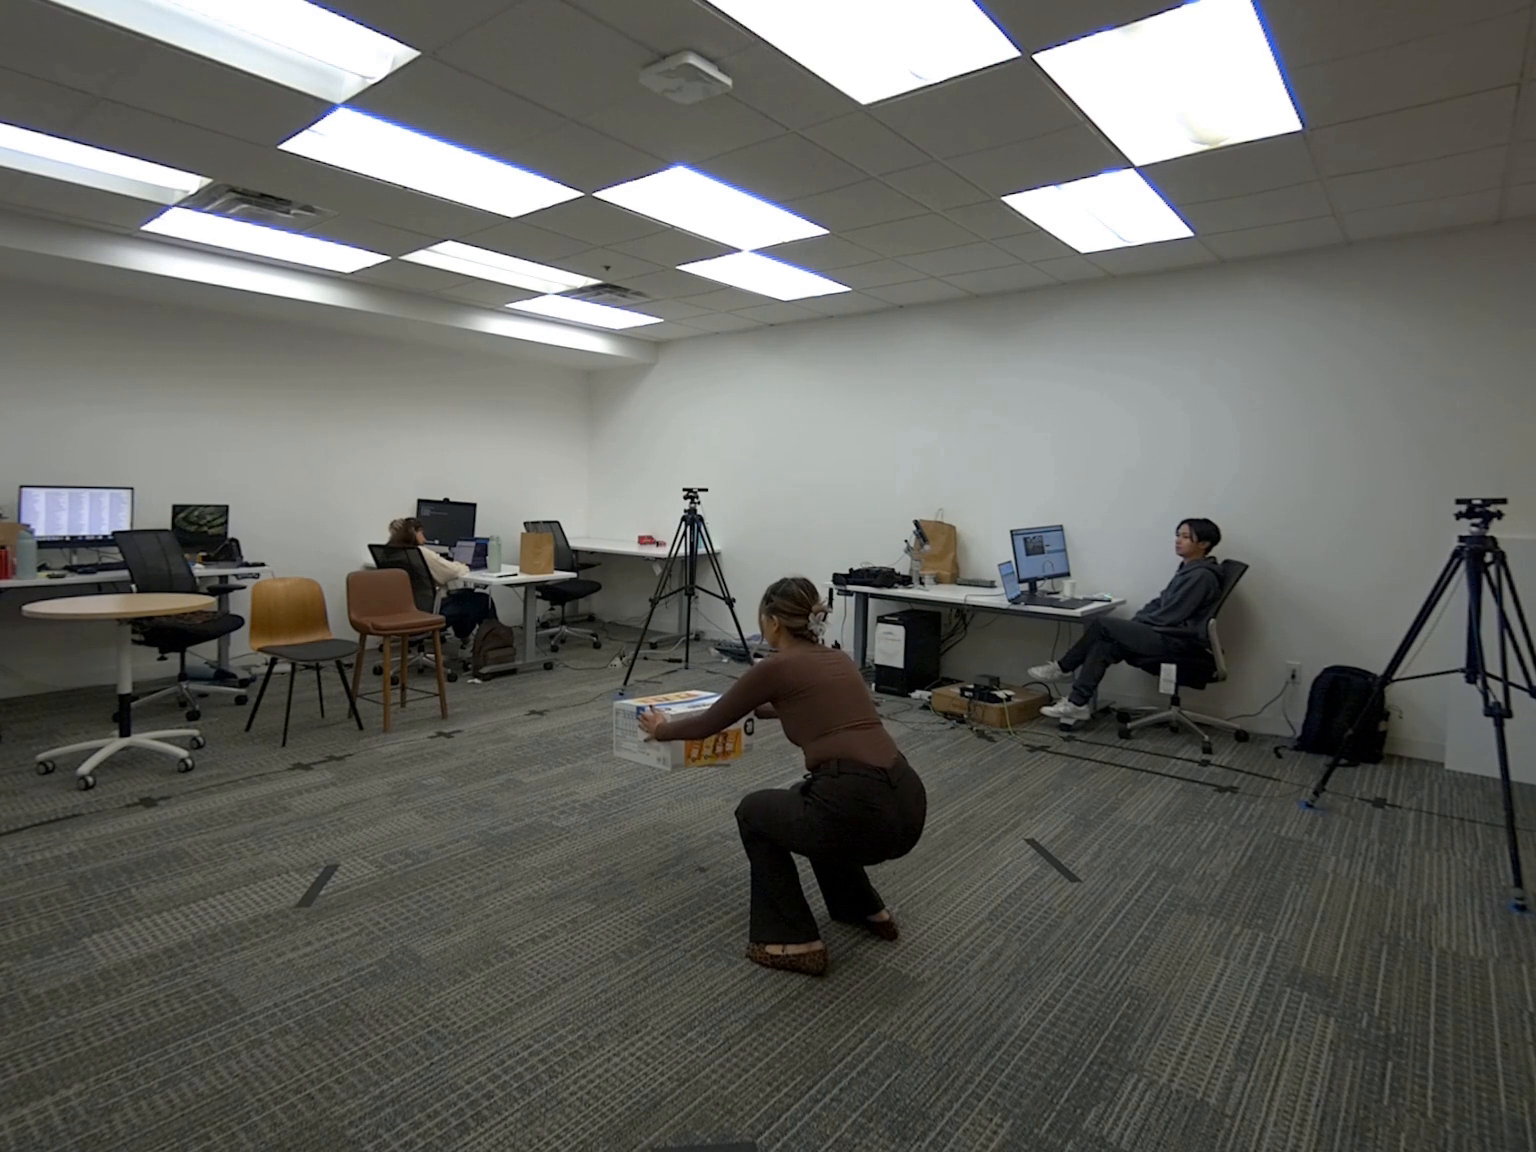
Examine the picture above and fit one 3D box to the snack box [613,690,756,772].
[{"bbox_3d":[-0.325,0.563,3.156,0.392,0.206,0.351,-1,1,-44],"label":"snack box"}]
